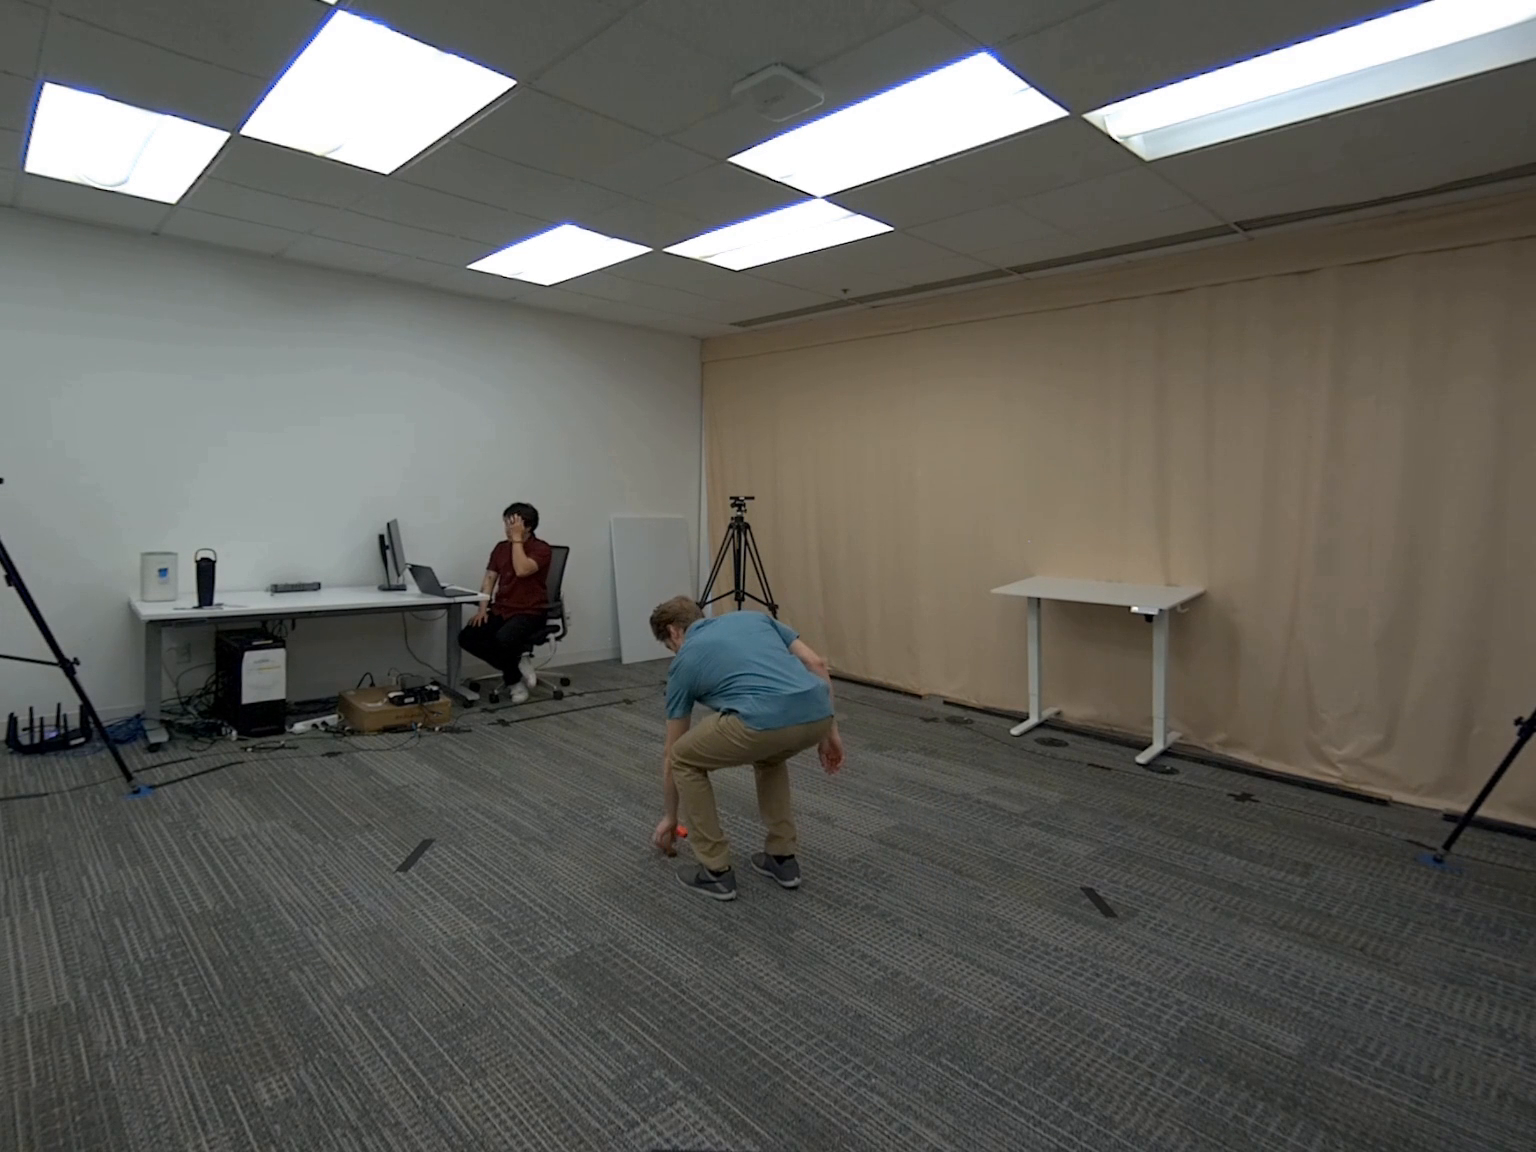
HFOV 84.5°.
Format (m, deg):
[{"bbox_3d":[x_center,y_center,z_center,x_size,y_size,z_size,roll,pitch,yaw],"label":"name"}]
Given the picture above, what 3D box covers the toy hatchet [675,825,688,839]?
[{"bbox_3d":[-0.367,1.070,3.383,0.129,0.029,0.274,2,7,-17],"label":"toy hatchet"}]
